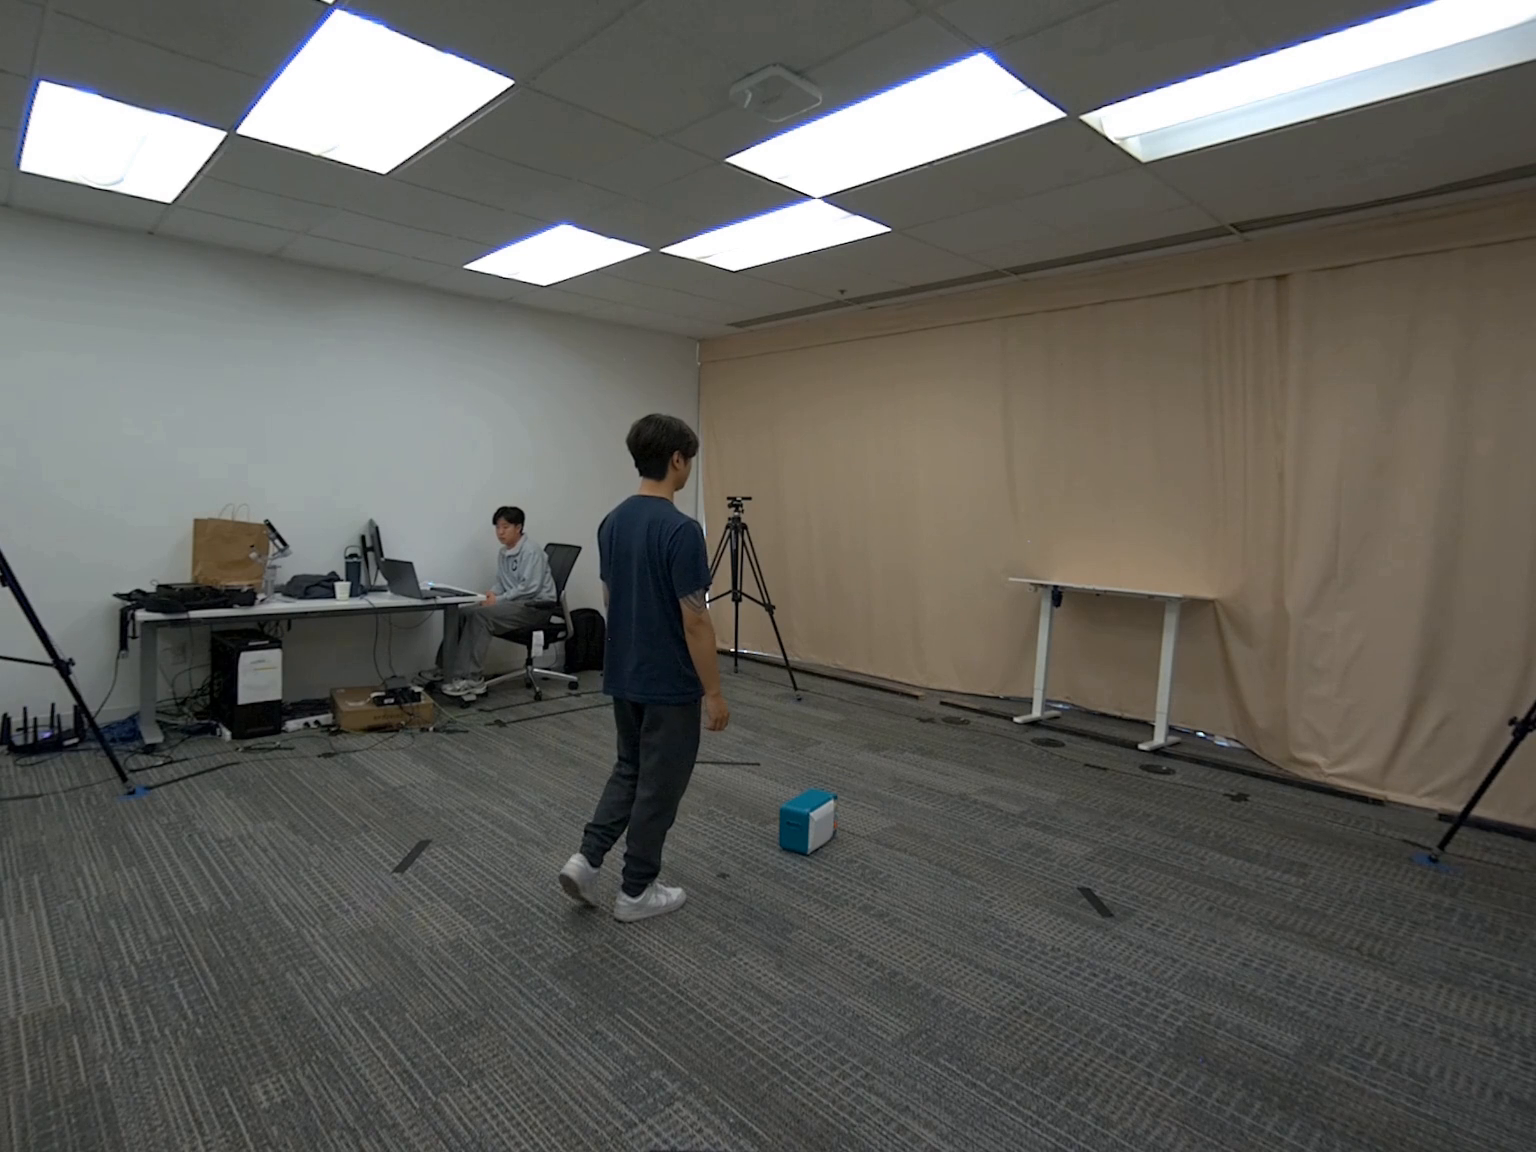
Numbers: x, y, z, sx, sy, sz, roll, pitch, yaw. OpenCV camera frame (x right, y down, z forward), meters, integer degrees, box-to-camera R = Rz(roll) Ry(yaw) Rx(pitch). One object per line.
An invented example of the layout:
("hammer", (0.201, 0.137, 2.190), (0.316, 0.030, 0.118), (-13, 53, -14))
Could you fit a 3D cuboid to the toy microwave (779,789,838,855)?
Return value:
("toy microwave", (0.164, 0.993, 3.415), (0.156, 0.184, 0.280), (4, 4, 31))
